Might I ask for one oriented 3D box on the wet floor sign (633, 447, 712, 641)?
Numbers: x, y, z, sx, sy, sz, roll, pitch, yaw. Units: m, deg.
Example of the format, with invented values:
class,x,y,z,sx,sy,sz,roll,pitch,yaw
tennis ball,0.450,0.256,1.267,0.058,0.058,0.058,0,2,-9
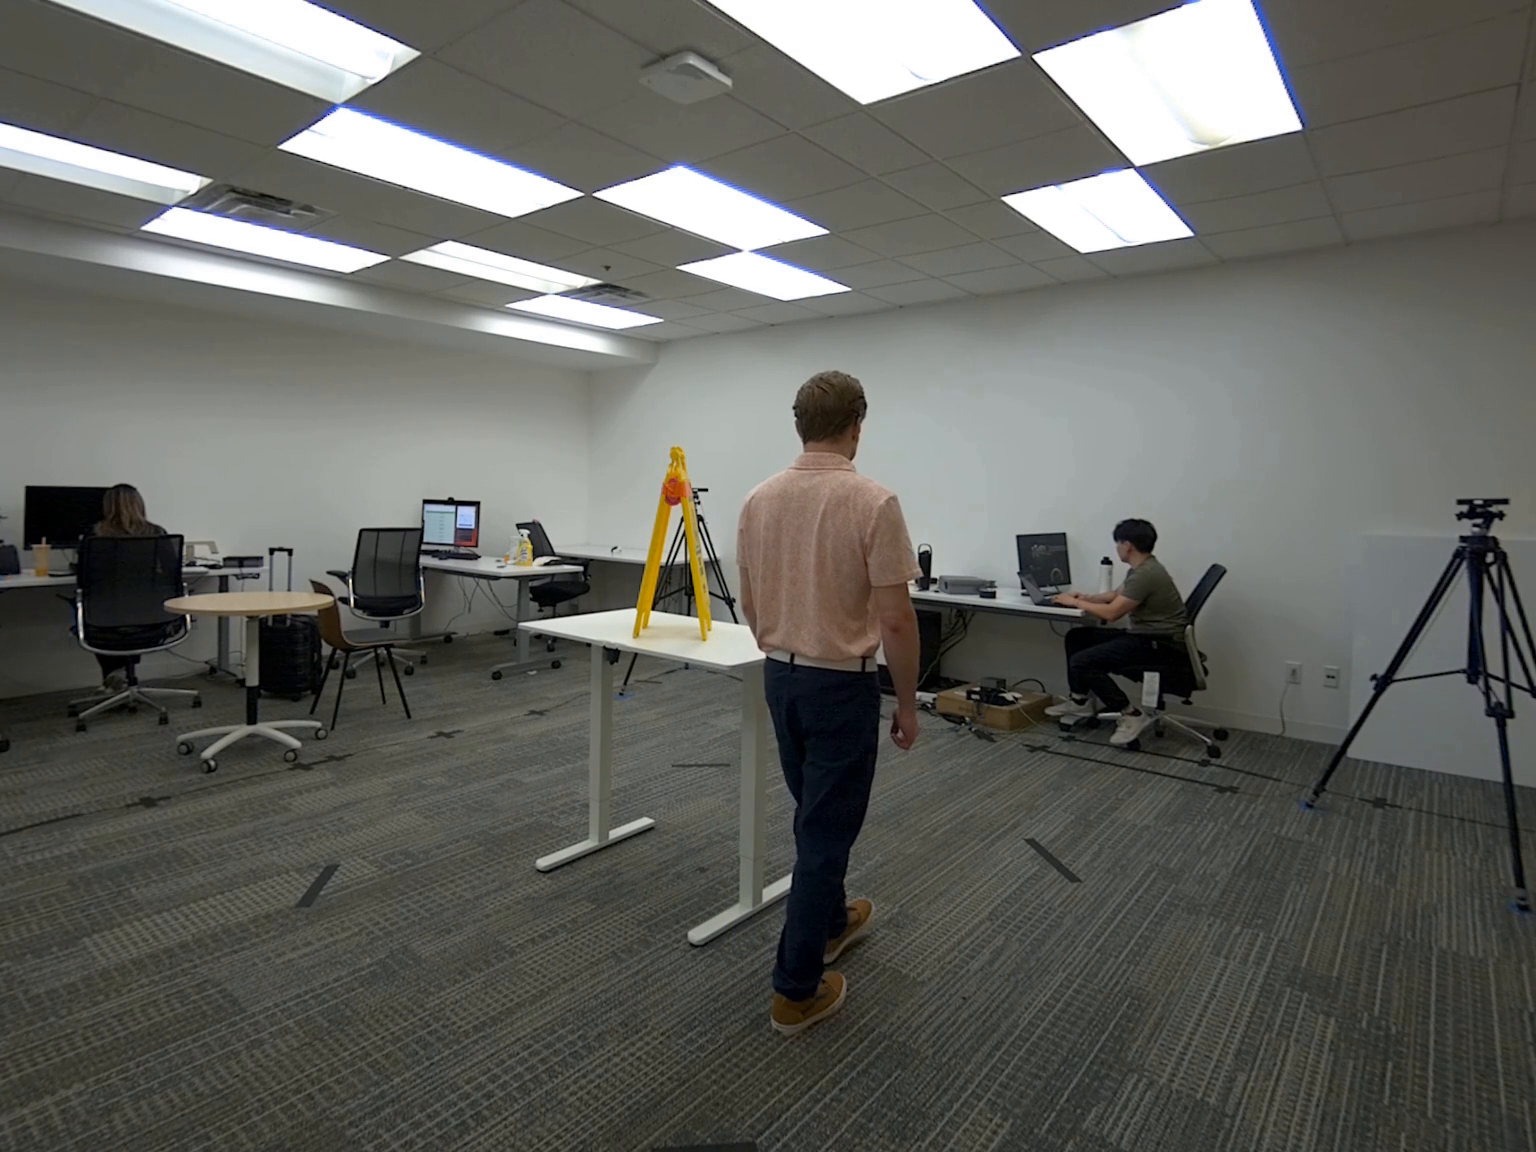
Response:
class,x,y,z,sx,sy,sz,roll,pitch,yaw
wet floor sign,-0.330,-0.125,2.966,0.290,0.644,0.283,2,4,0
